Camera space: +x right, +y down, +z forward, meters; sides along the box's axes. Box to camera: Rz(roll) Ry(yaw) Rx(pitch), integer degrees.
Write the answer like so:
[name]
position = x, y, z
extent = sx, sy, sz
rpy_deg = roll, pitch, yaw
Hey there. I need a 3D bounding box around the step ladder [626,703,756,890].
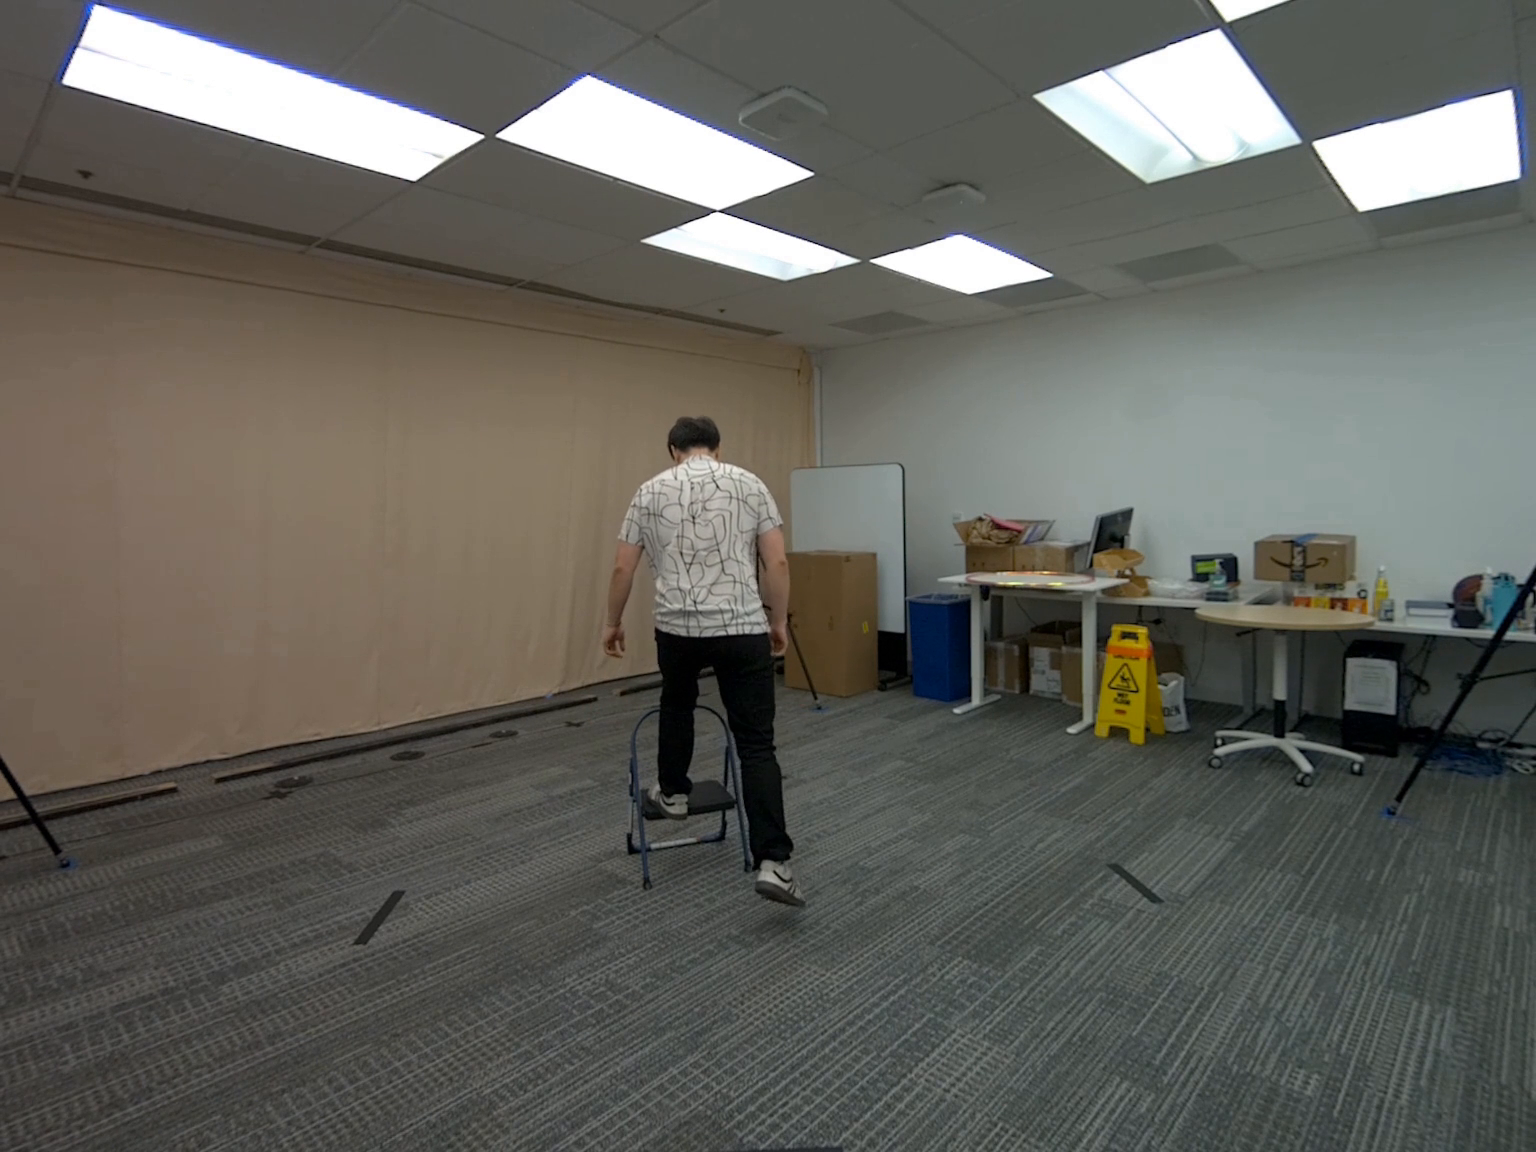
[step ladder]
position = -0.321, 0.820, 3.287
extent = 0.422, 0.605, 0.357
rpy_deg = -3, 3, -20
